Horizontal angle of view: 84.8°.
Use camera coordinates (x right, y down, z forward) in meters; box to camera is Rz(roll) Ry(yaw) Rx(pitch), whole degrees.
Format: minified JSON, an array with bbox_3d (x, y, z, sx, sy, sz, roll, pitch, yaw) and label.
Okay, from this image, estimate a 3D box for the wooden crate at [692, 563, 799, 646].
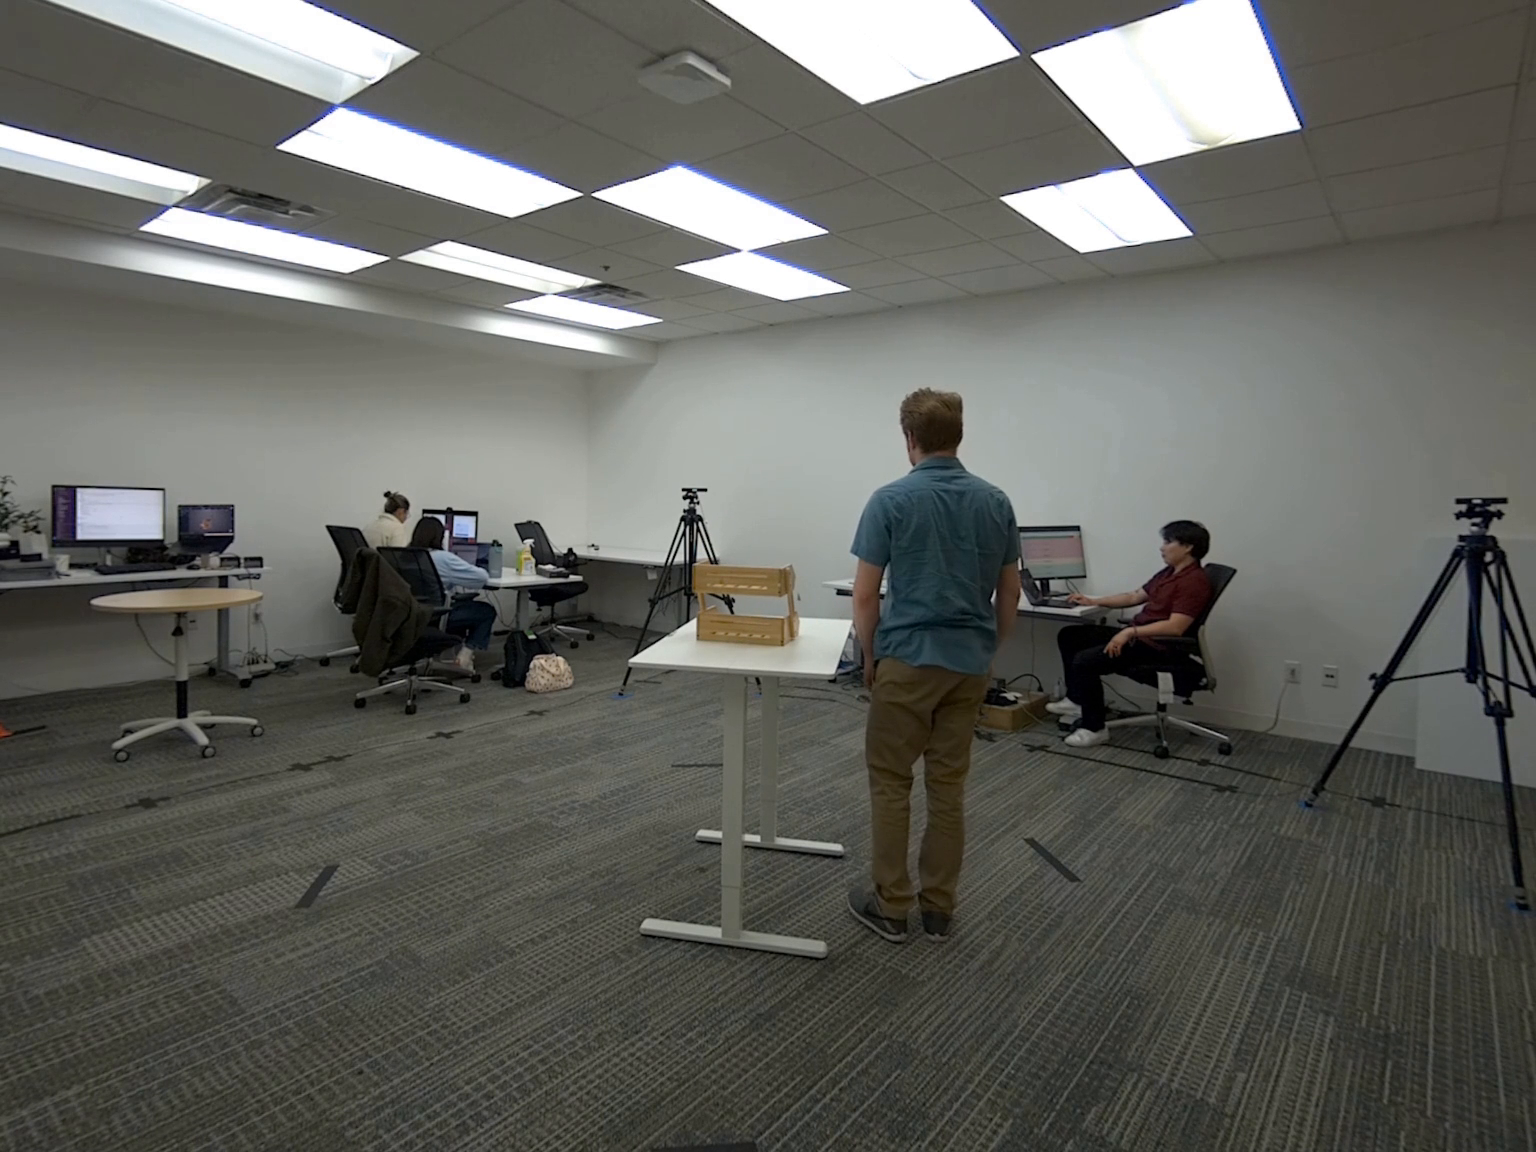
[{"bbox_3d":[-0.074,0.077,2.898,0.330,0.272,0.298,2,5,15],"label":"wooden crate"}]
